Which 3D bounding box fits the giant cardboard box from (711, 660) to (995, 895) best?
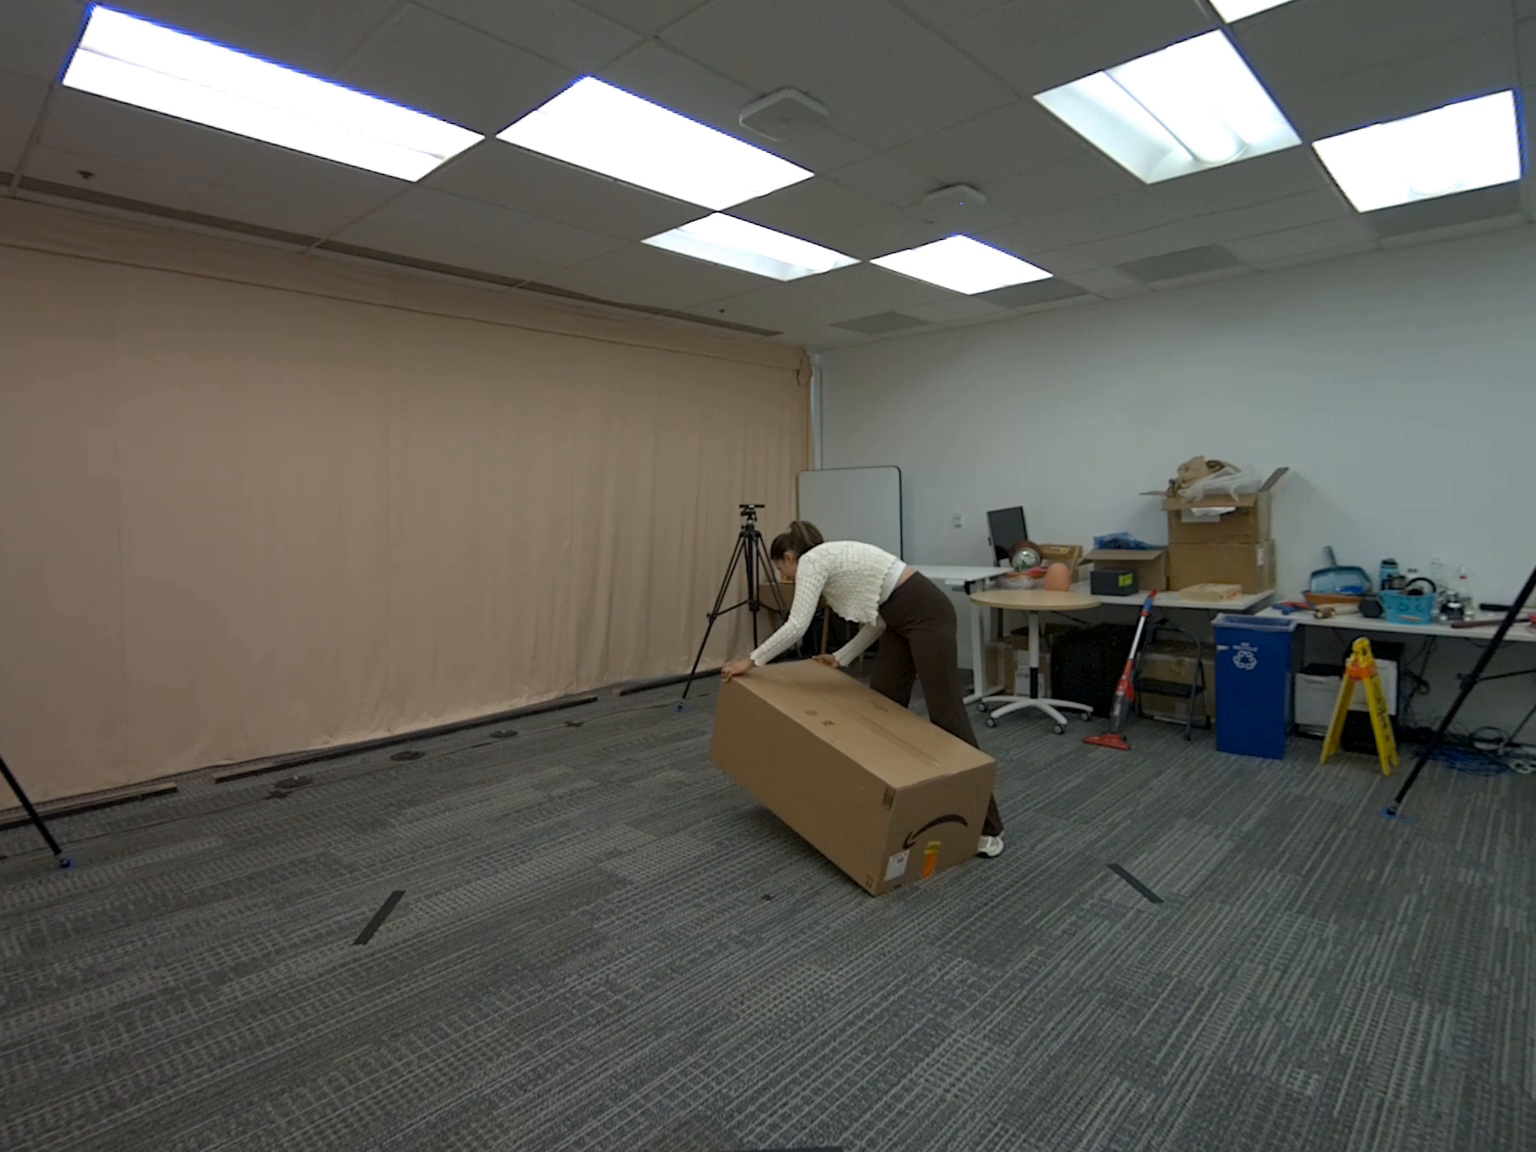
[{"bbox_3d":[0.300,0.757,3.463,0.560,0.423,1.064,-3,19,-38],"label":"giant cardboard box"}]
